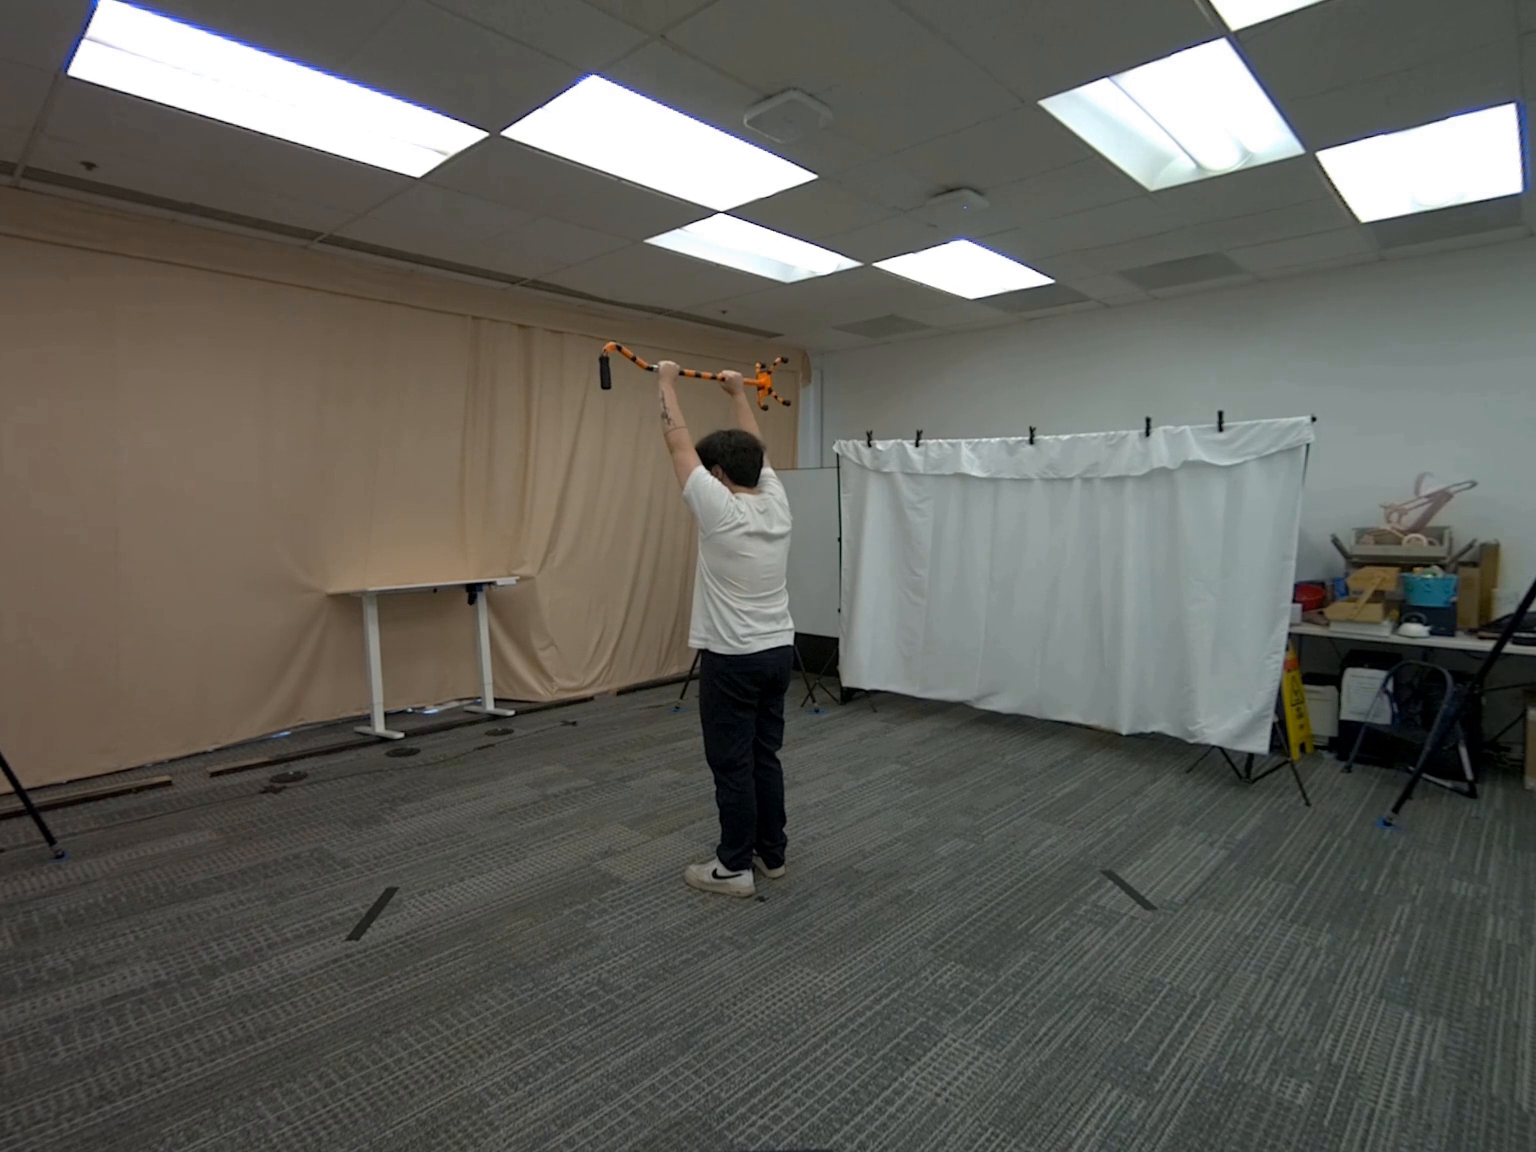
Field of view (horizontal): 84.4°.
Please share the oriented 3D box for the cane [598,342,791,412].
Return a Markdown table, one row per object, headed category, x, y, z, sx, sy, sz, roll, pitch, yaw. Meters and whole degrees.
| category | x | y | z | sx | sy | sz | roll | pitch | yaw |
| --- | --- | --- | --- | --- | --- | --- | --- | --- | --- |
| cane | -0.271 | -0.763 | 3.179 | 0.156 | 0.206 | 0.881 | -5 | 1 | 43 |
